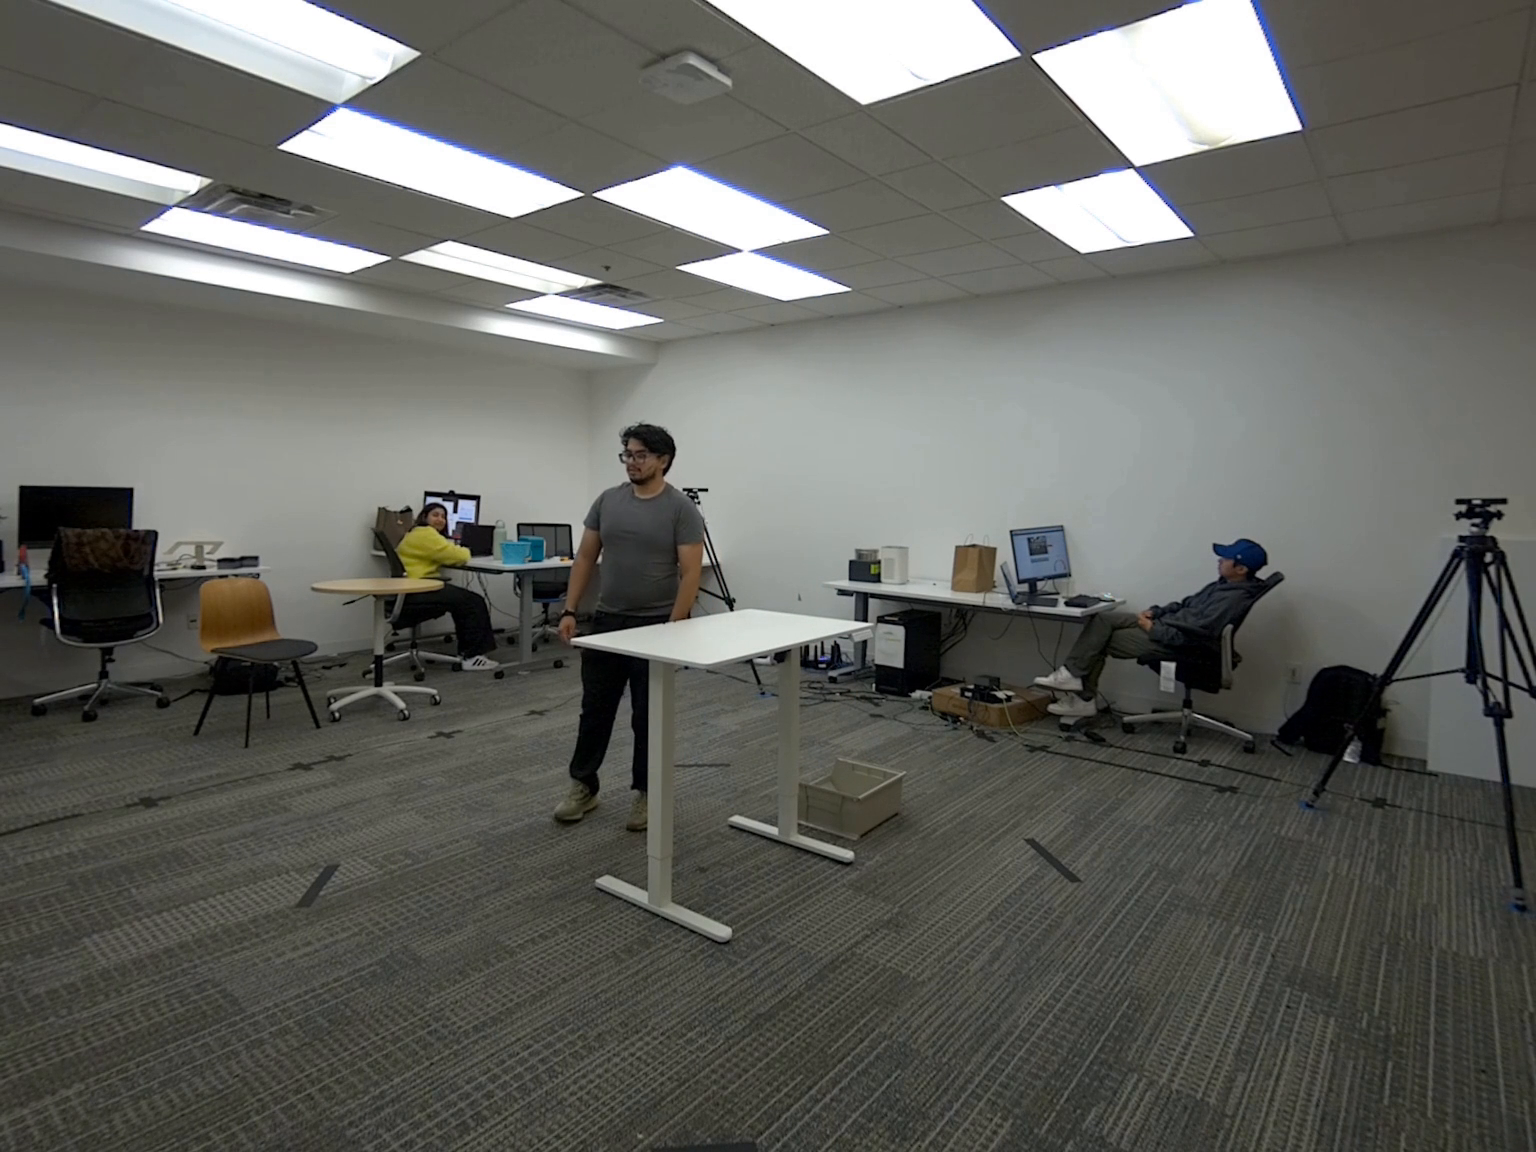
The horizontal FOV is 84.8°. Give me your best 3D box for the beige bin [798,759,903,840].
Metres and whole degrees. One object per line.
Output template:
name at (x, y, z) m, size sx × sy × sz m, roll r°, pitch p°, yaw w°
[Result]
beige bin at (0.324, 0.939, 3.659) m, size 0.390 × 0.188 × 0.410 m, roll 6°, pitch 7°, yaw 36°
